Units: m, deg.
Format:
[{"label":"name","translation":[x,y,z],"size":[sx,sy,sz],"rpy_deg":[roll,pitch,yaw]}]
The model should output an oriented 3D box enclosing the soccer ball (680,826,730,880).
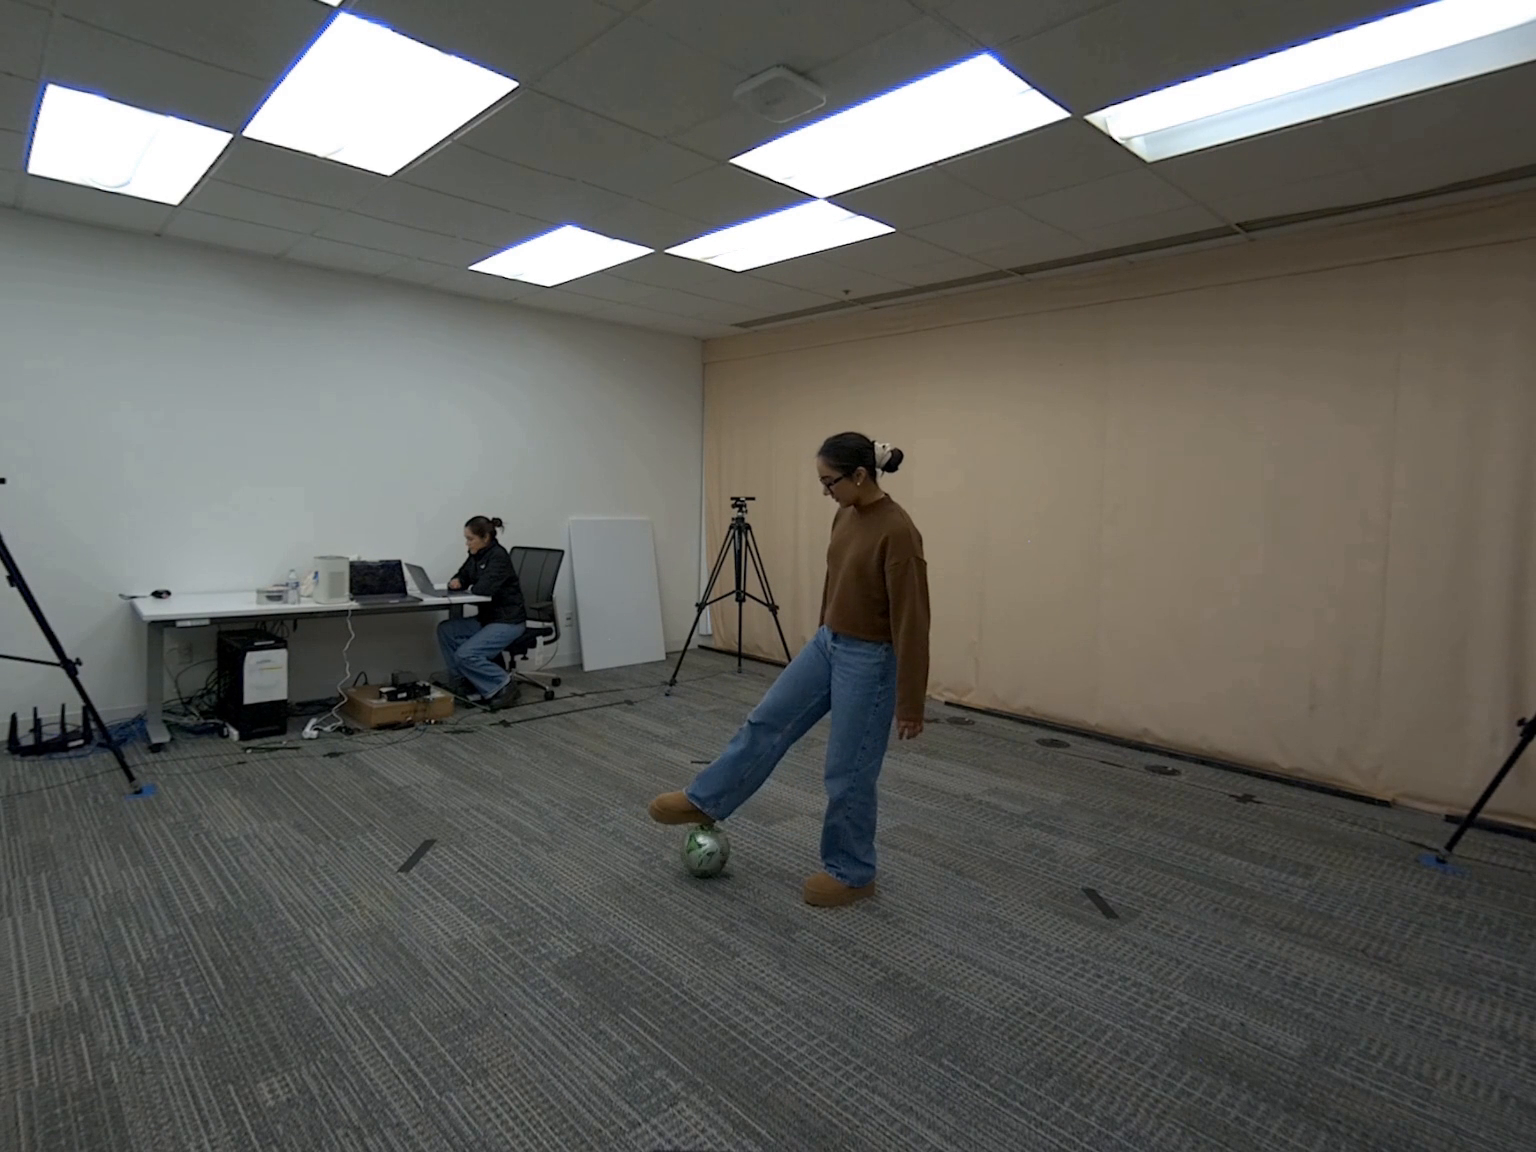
[{"label":"soccer ball","translation":[-0.229,1.010,3.112],"size":[0.187,0.187,0.188],"rpy_deg":[1,4,-1]}]
